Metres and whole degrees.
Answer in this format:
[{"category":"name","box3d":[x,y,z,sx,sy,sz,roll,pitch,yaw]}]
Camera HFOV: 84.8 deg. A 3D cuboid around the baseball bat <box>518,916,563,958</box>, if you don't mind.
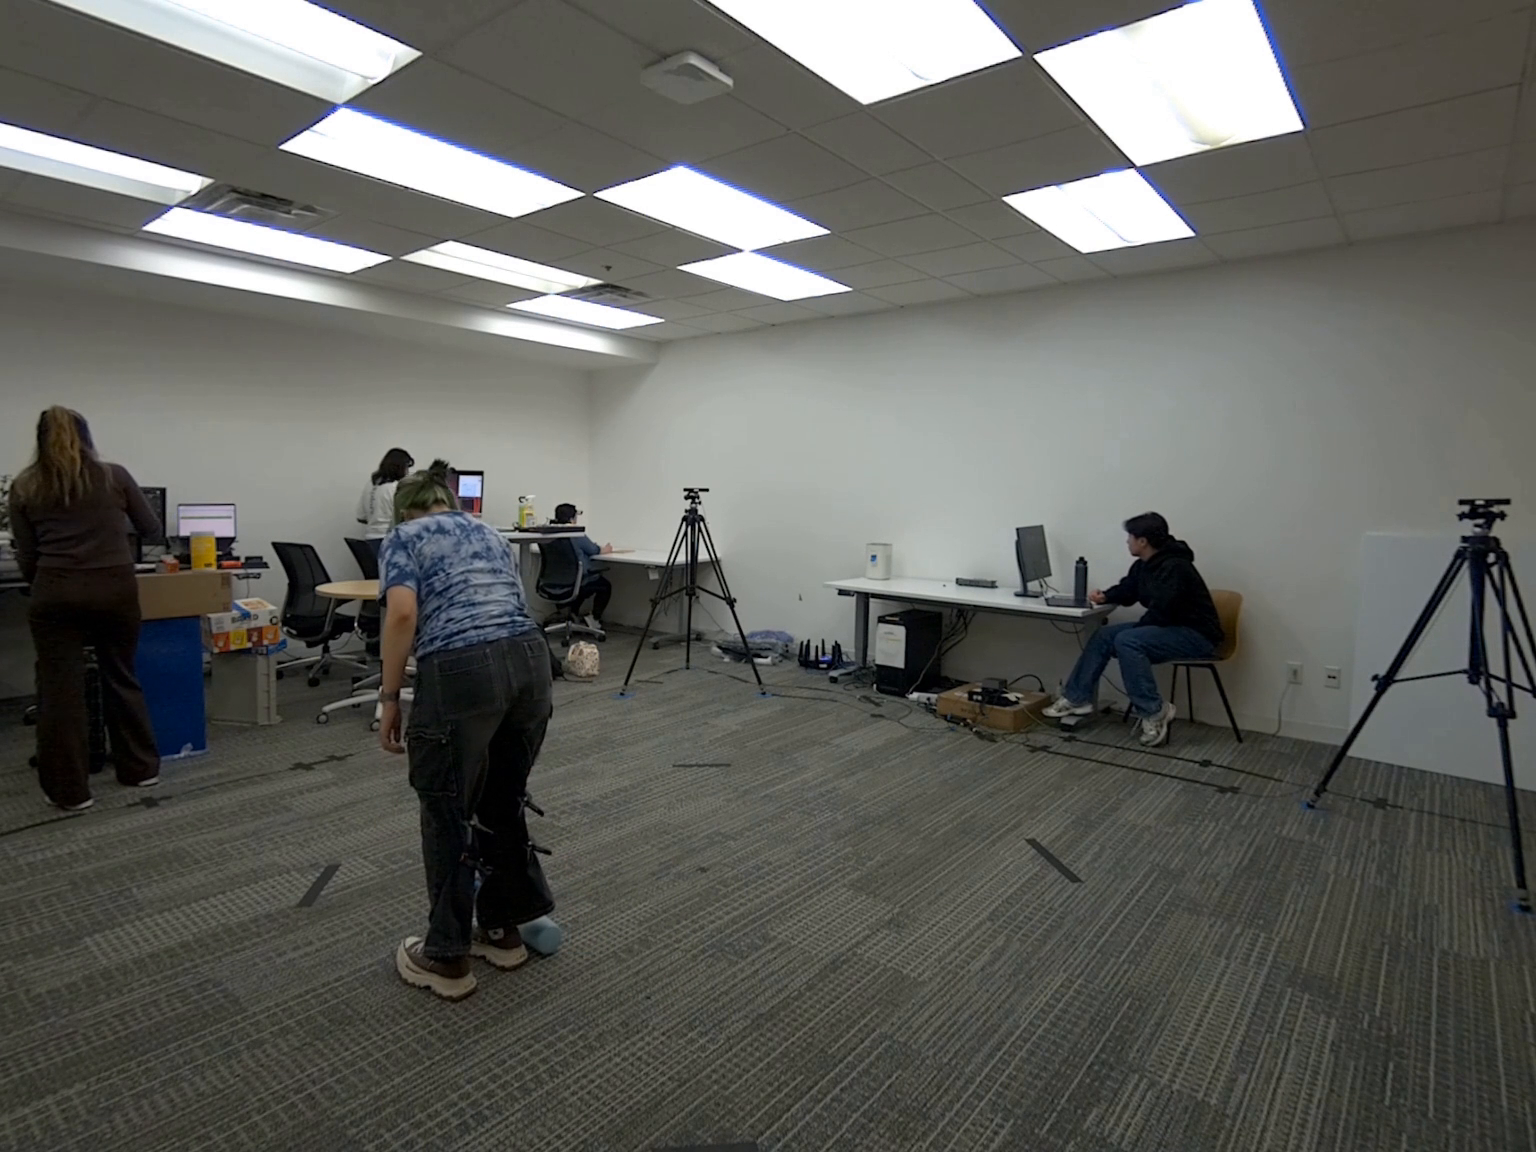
[{"category":"baseball bat","box3d":[-0.839,1.064,2.704,0.086,0.089,0.561,-3,4,-43]}]
